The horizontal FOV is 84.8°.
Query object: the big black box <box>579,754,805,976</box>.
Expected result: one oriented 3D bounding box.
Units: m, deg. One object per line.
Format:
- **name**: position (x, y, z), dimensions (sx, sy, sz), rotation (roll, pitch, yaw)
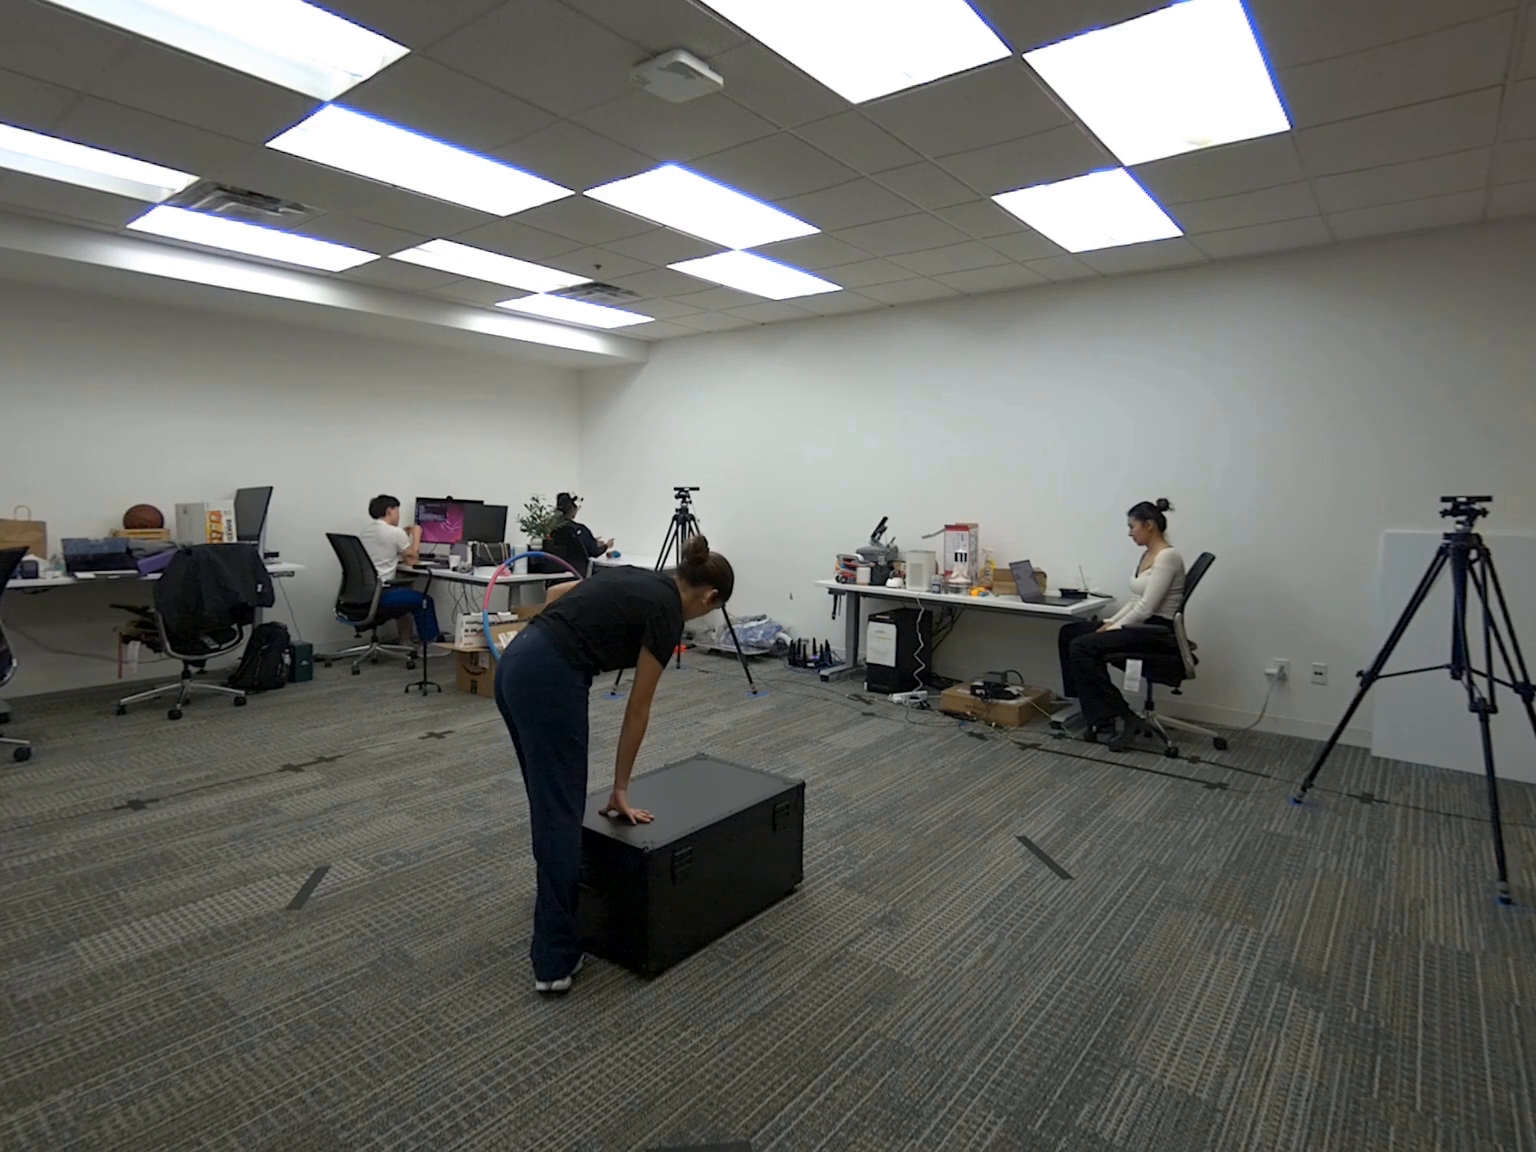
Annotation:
- **big black box**: position (-0.263, 0.885, 2.853), dimensions (0.538, 0.395, 0.836), rotation (4, 6, 37)
